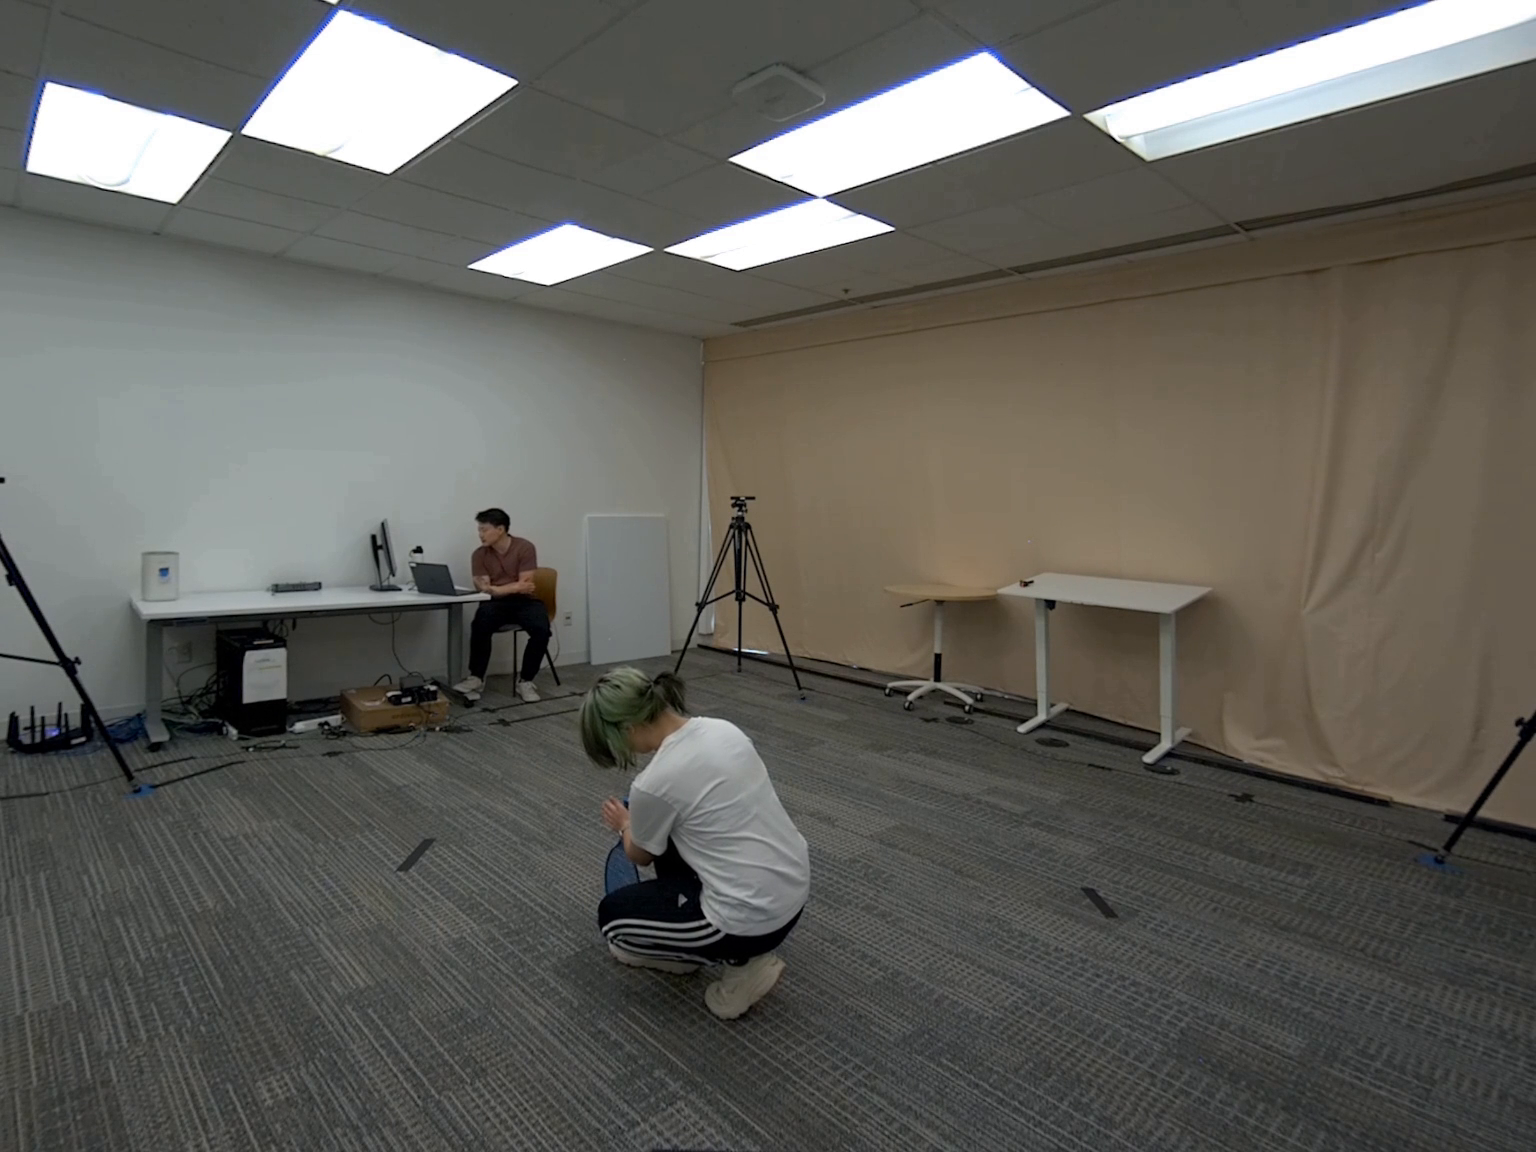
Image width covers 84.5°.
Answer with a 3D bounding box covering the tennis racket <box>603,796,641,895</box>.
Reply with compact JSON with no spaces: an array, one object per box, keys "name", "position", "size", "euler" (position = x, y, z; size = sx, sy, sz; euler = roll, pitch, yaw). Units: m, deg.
[{"name":"tennis racket","position":[-0.469,0.920,2.693],"size":[0.031,0.431,0.219],"euler":[-1,8,-39]}]
